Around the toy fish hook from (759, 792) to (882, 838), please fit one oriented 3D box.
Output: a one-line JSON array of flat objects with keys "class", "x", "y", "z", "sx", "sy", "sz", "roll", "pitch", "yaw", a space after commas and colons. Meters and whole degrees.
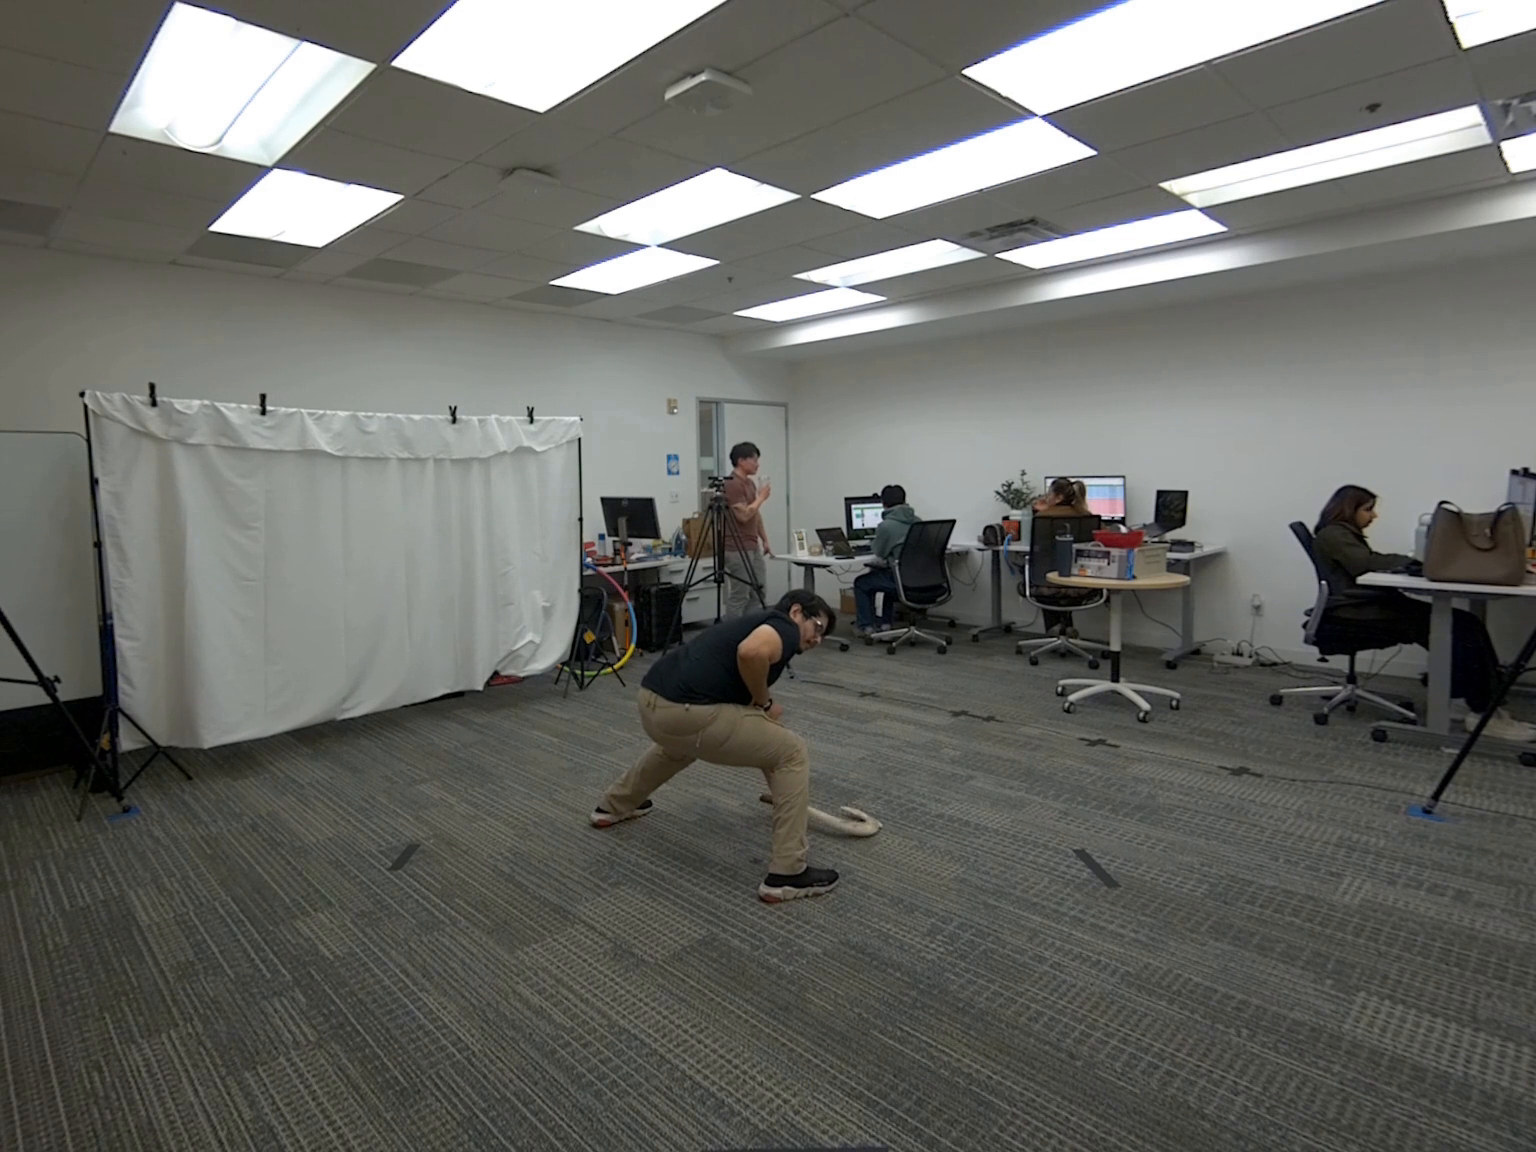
[{"class": "toy fish hook", "x": 0.207, "y": 0.947, "z": 3.446, "sx": 0.521, "sy": 0.048, "sz": 0.218, "roll": 11, "pitch": 3, "yaw": 28}]
